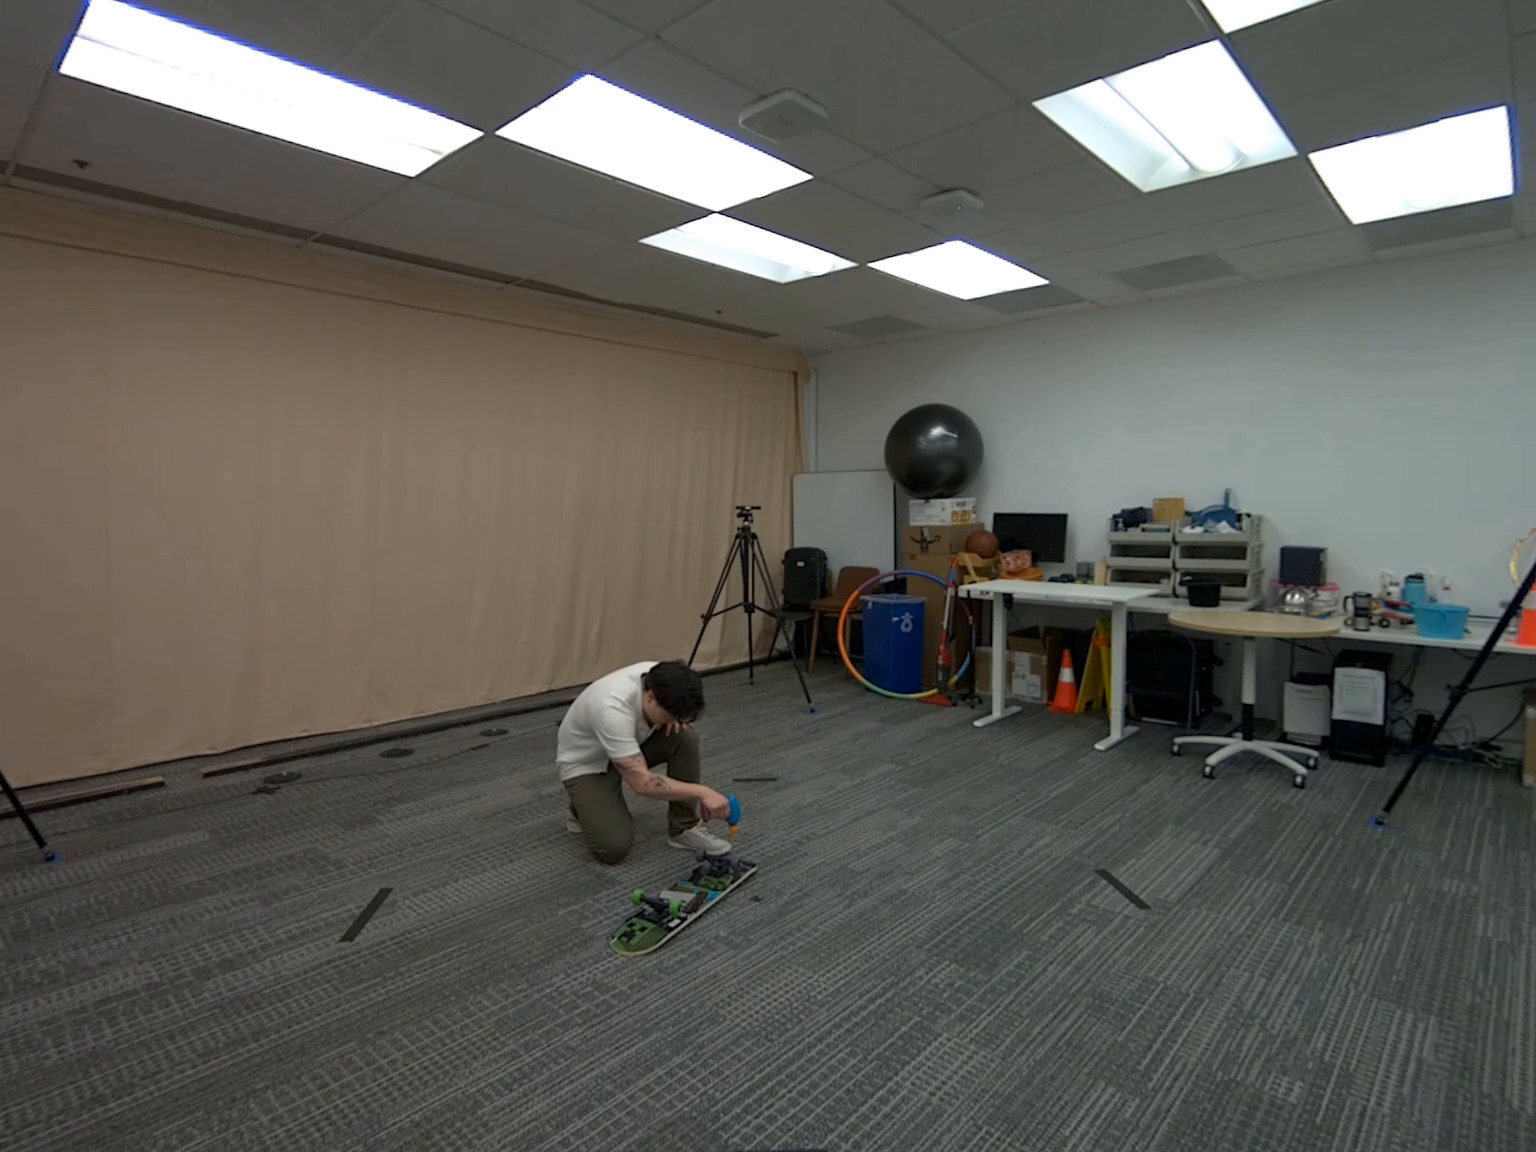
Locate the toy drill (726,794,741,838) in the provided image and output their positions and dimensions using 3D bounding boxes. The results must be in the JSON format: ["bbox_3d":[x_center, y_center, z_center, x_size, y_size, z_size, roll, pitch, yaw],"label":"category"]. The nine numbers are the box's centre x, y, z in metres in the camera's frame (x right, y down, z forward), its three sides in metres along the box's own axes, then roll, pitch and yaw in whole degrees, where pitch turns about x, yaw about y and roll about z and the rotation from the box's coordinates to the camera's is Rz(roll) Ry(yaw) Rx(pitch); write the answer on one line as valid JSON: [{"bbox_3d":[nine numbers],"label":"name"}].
[{"bbox_3d":[-0.170,0.898,3.082,0.144,0.169,0.062,-5,10,-12],"label":"toy drill"}]
